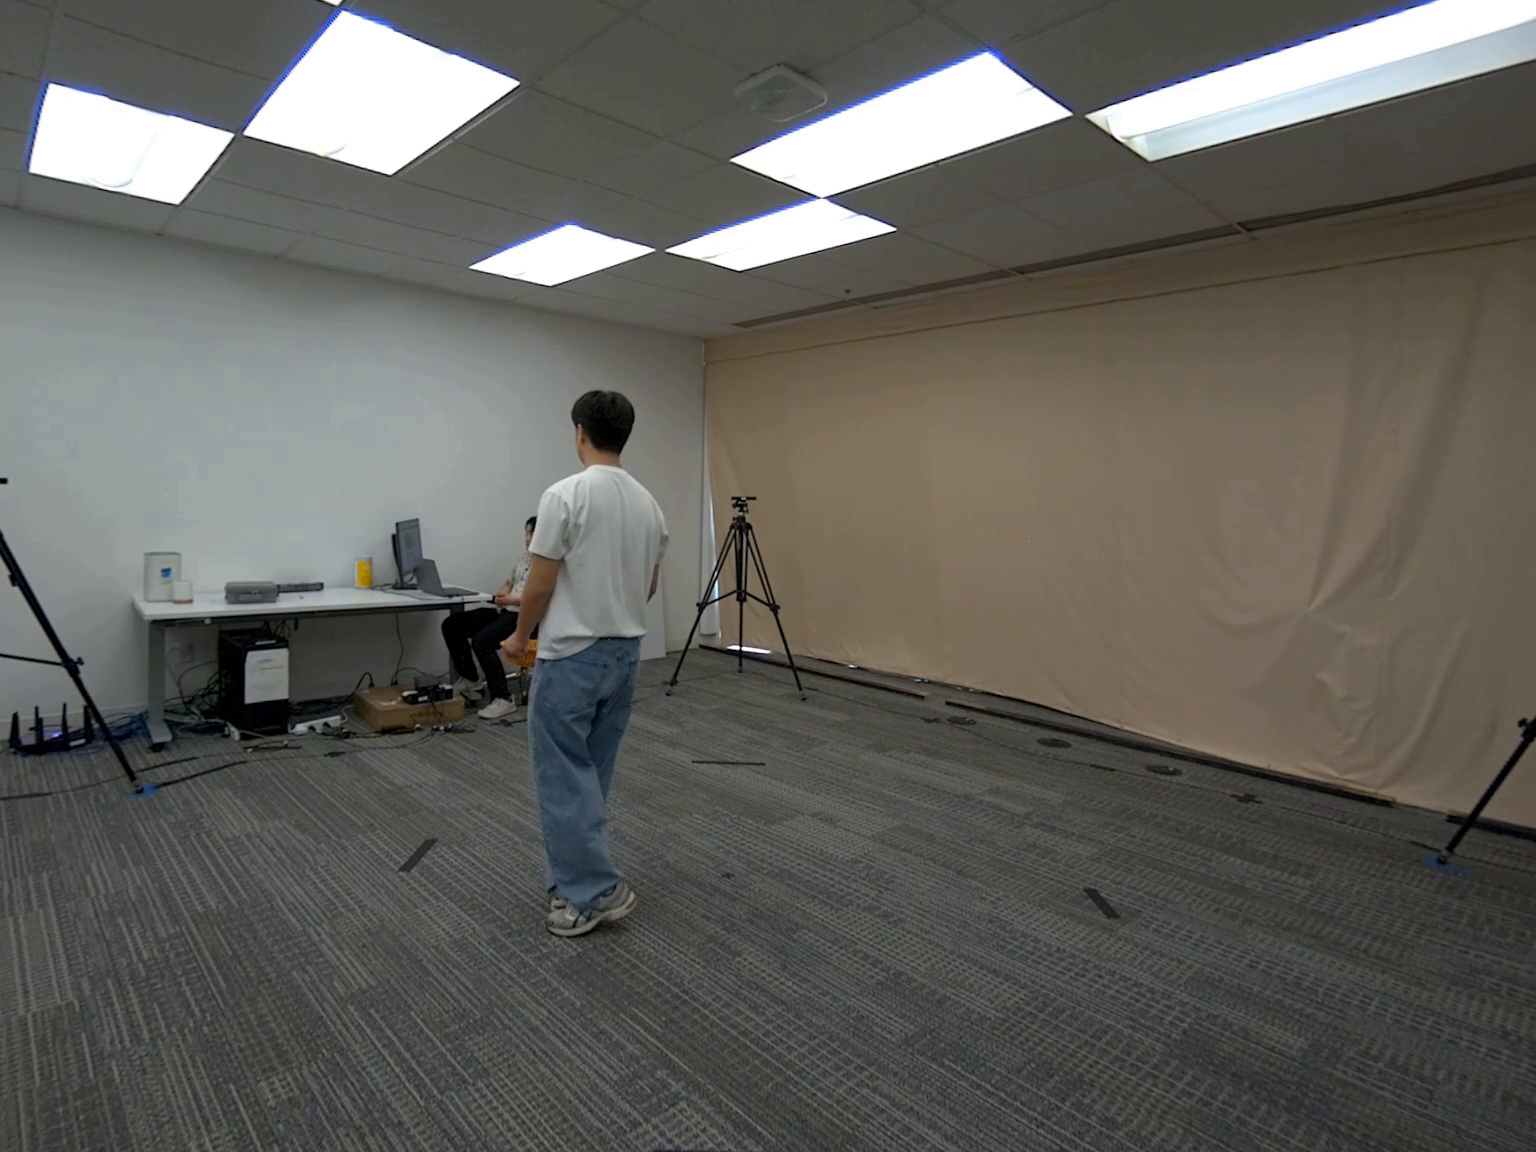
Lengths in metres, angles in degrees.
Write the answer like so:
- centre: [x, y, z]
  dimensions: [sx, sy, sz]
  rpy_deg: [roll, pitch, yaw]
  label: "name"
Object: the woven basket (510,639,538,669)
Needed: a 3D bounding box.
- centre: [-0.782, 0.287, 3.040]
  dimensions: [0.341, 0.073, 0.259]
  rpy_deg: [6, 2, -41]
  label: "woven basket"
